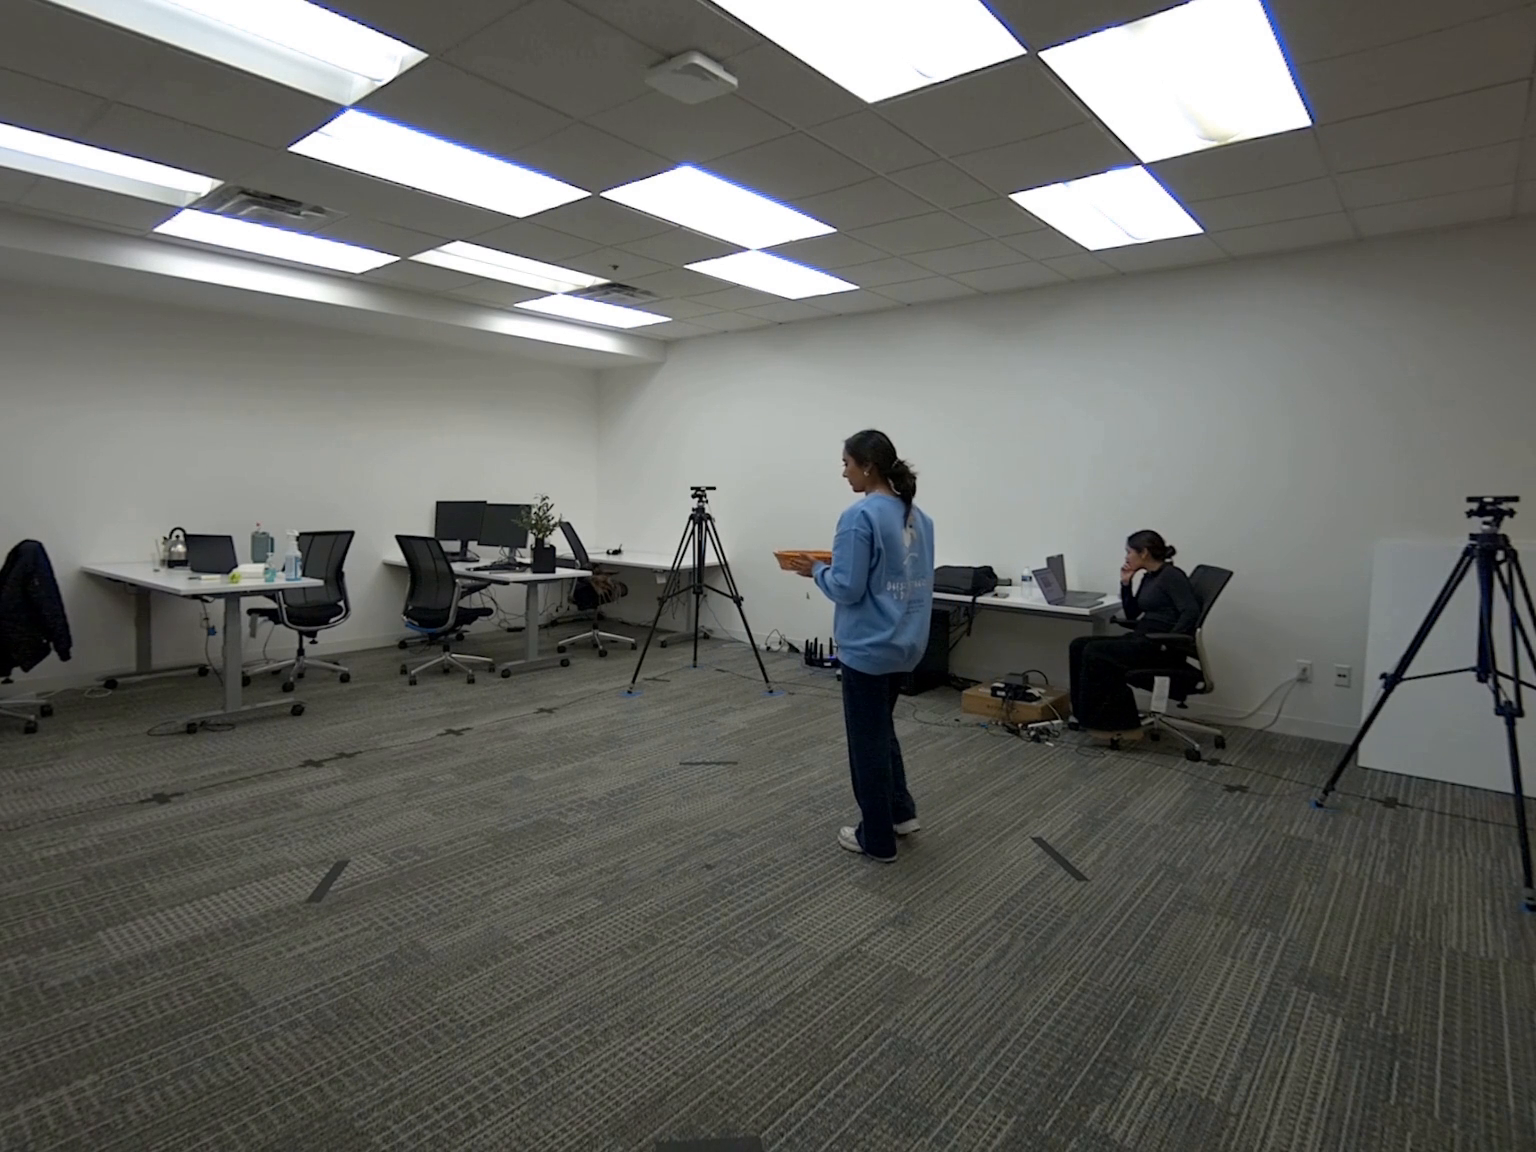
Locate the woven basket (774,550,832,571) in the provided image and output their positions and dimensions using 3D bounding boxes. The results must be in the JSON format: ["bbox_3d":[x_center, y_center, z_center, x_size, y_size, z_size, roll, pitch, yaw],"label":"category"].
[{"bbox_3d":[0.203,-0.053,3.497,0.361,0.073,0.246,4,7,33],"label":"woven basket"}]
